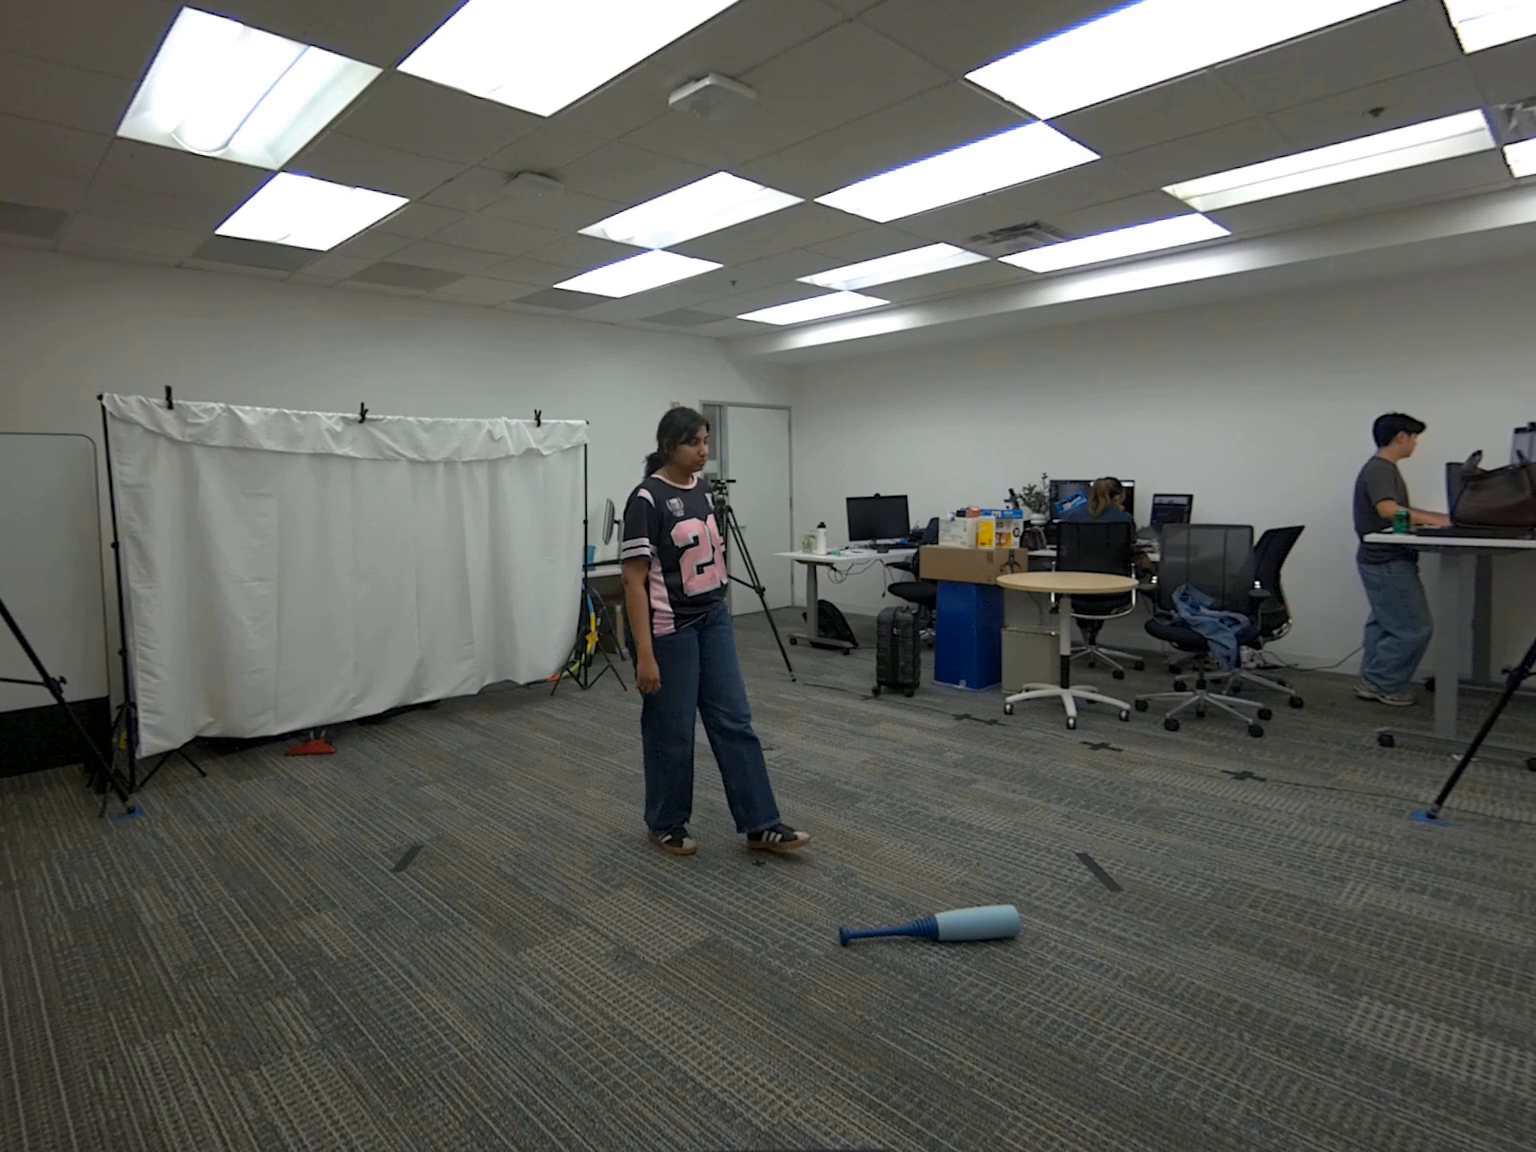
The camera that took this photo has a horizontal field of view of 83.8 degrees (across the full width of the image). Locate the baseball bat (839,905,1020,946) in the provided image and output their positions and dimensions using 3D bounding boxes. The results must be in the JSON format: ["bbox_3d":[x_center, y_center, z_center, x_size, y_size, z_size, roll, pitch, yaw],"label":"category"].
[{"bbox_3d":[0.491,1.063,2.571,0.542,0.089,0.089,-5,5,-2],"label":"baseball bat"}]
